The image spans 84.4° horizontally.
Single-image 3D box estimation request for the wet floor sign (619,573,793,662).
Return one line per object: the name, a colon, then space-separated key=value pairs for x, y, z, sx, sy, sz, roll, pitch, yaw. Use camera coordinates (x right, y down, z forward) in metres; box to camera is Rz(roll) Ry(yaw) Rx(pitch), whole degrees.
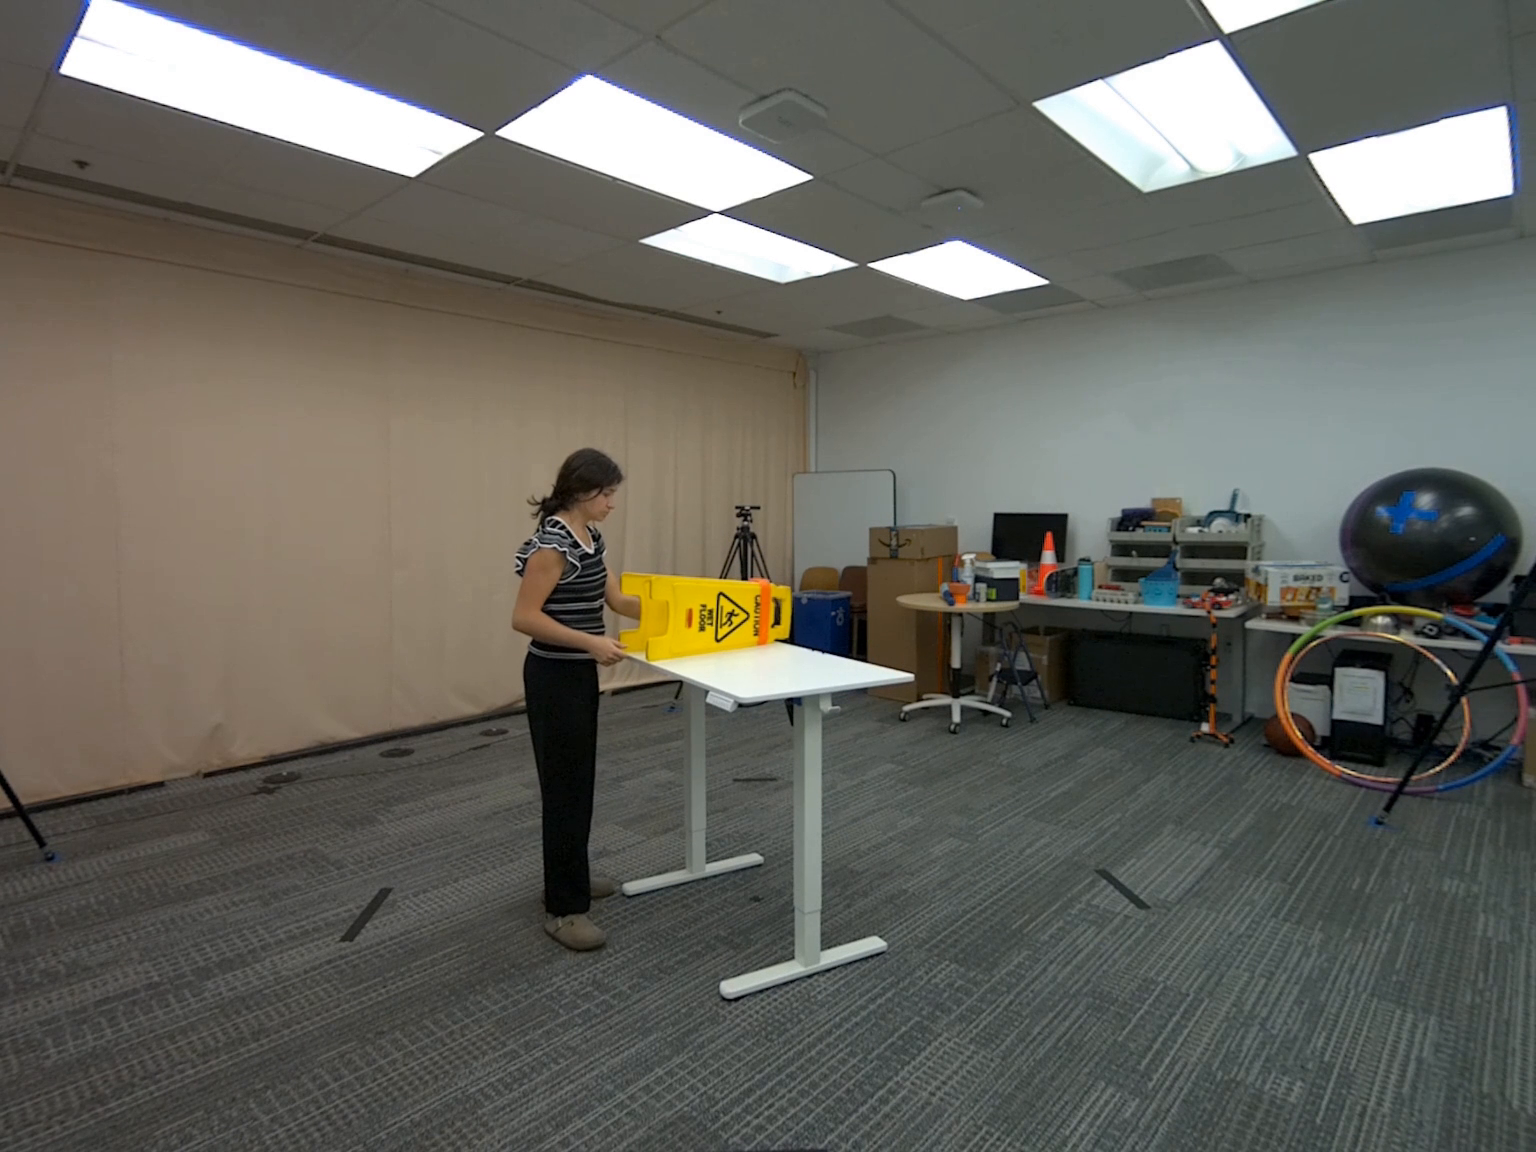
wet floor sign: x=-0.185 y=0.138 z=3.030 sx=0.628 sy=0.282 sz=0.298 roll=1 pitch=3 yaw=-31
